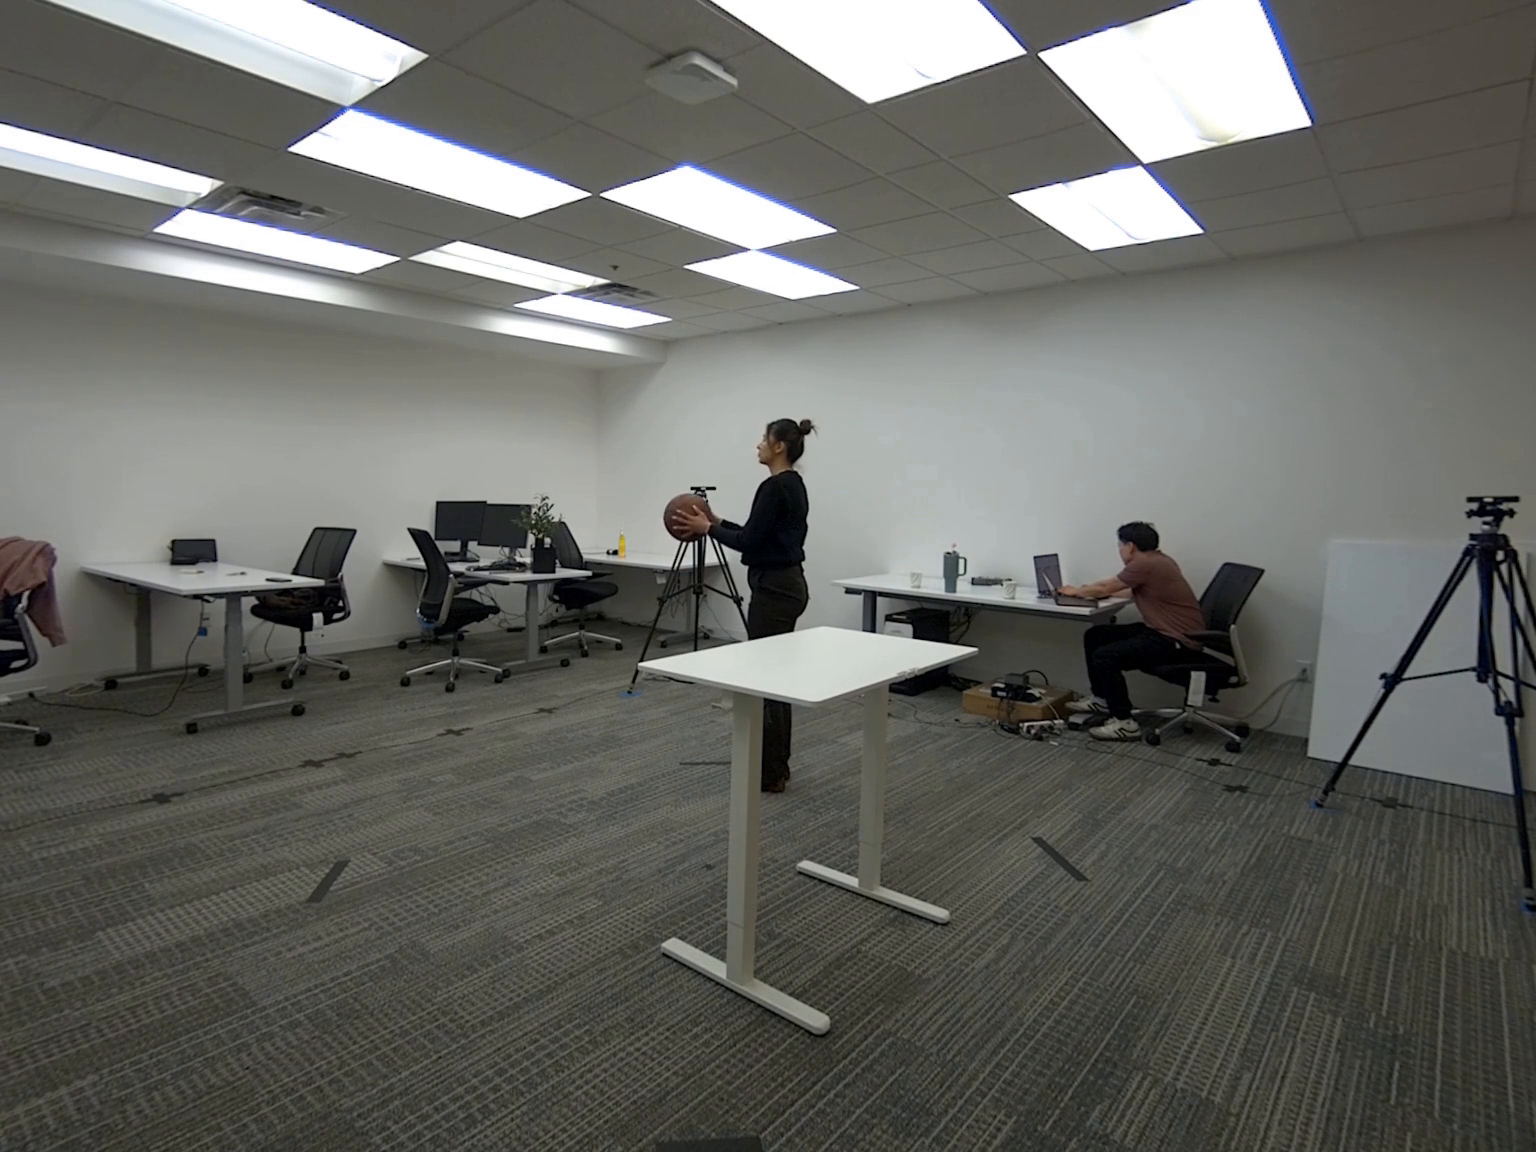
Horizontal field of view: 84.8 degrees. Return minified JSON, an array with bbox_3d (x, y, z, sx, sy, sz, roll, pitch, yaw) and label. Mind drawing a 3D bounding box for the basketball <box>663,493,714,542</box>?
[{"bbox_3d":[-0.390,-0.280,4.097,0.235,0.235,0.237,1,4,-2],"label":"basketball"}]
